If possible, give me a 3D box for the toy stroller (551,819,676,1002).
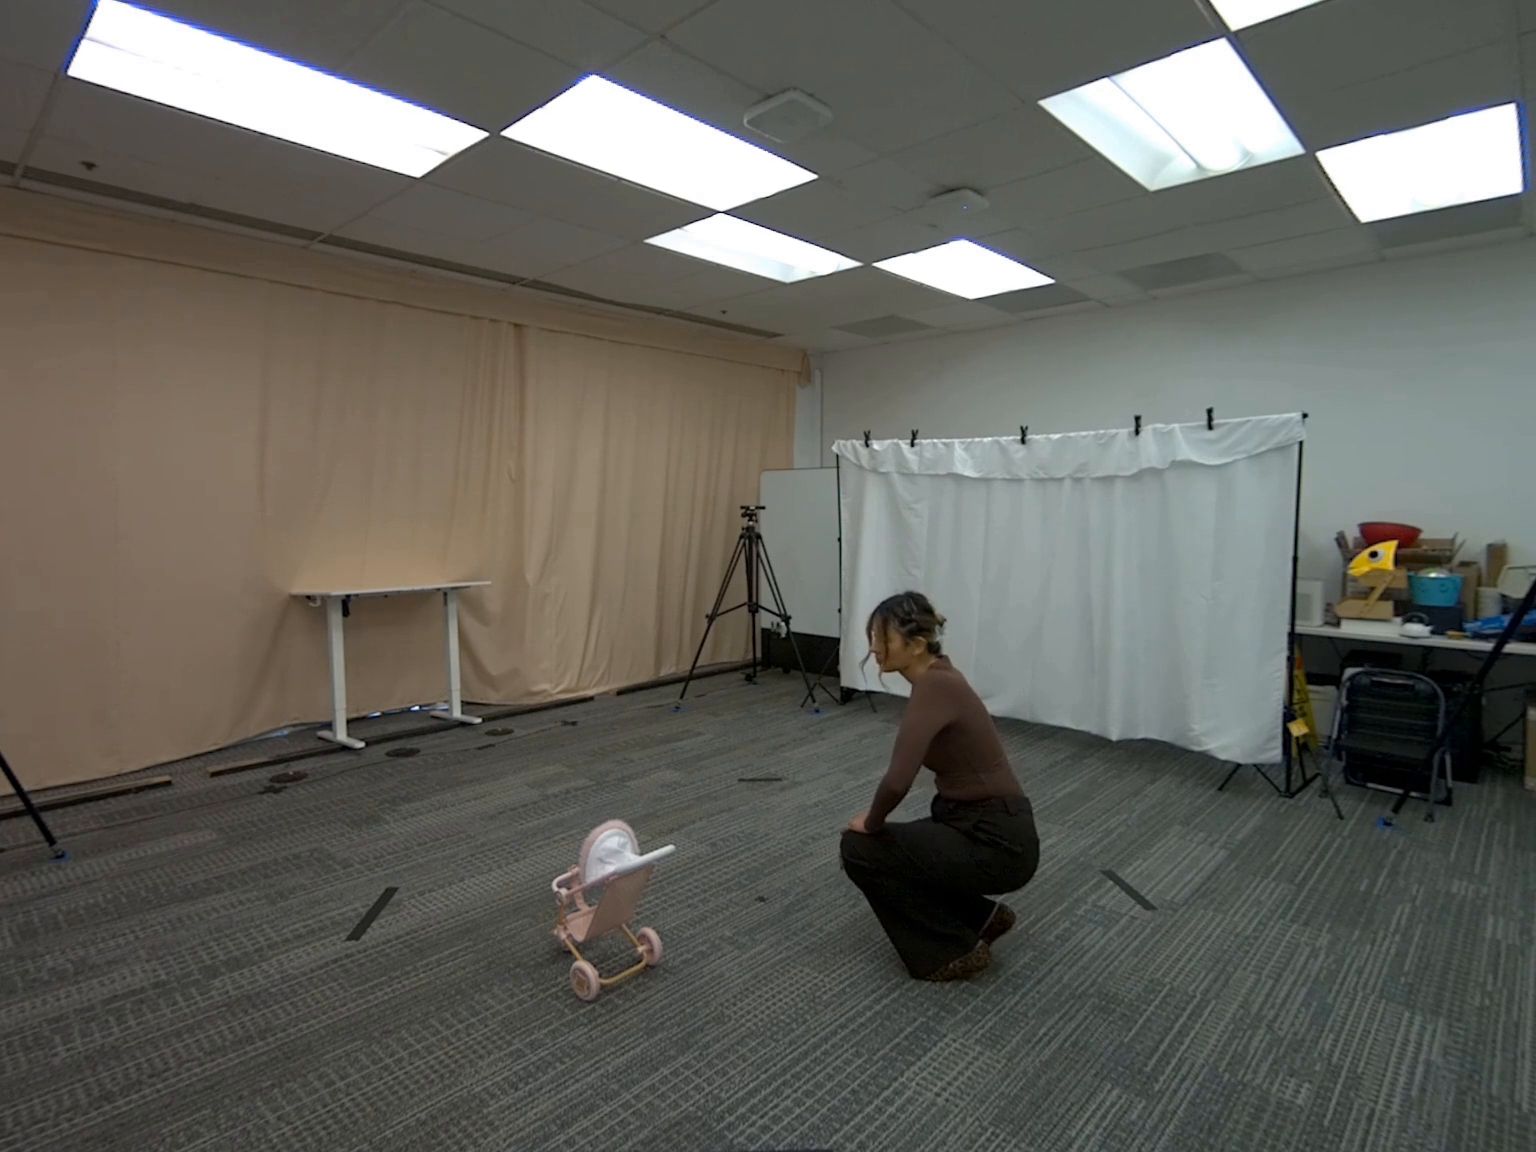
[{"bbox_3d":[-0.489,0.967,2.508,0.272,0.532,0.354,-1,19,-45],"label":"toy stroller"}]
